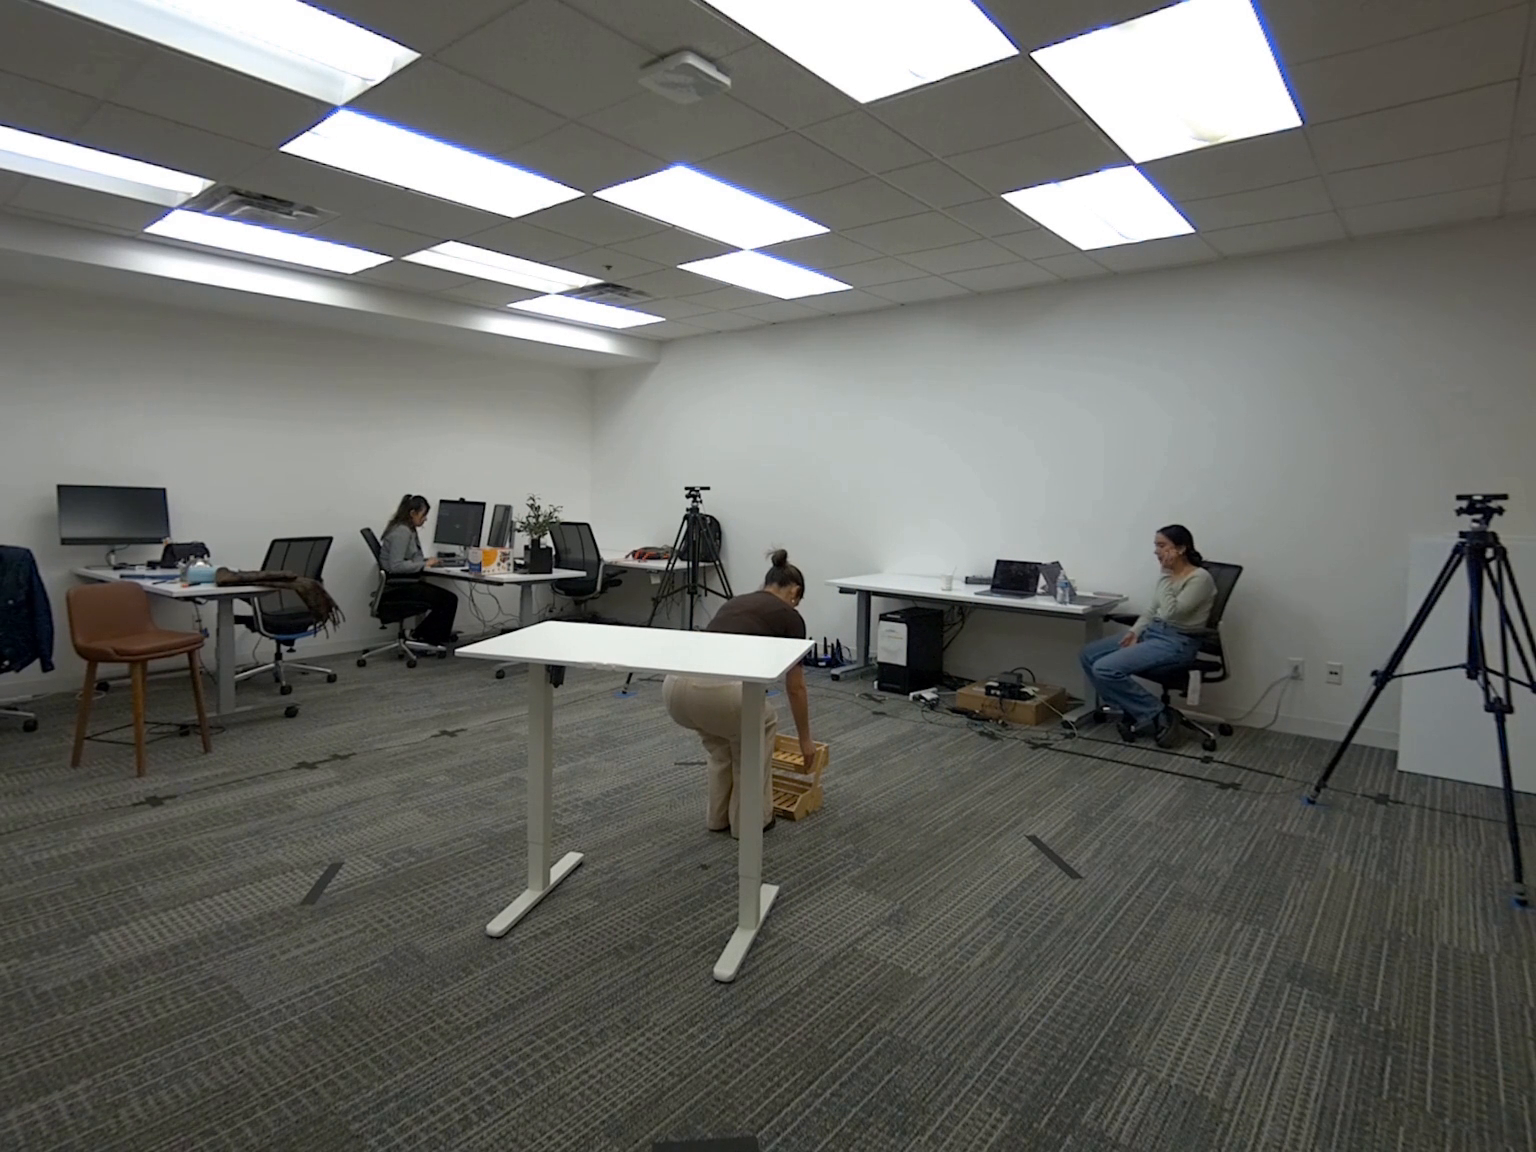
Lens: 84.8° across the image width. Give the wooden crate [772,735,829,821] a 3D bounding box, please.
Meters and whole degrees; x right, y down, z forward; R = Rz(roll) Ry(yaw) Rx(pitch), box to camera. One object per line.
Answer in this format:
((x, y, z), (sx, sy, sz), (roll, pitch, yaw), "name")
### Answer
((0.050, 0.865, 3.747), (0.334, 0.272, 0.294), (3, 5, 33), "wooden crate")
